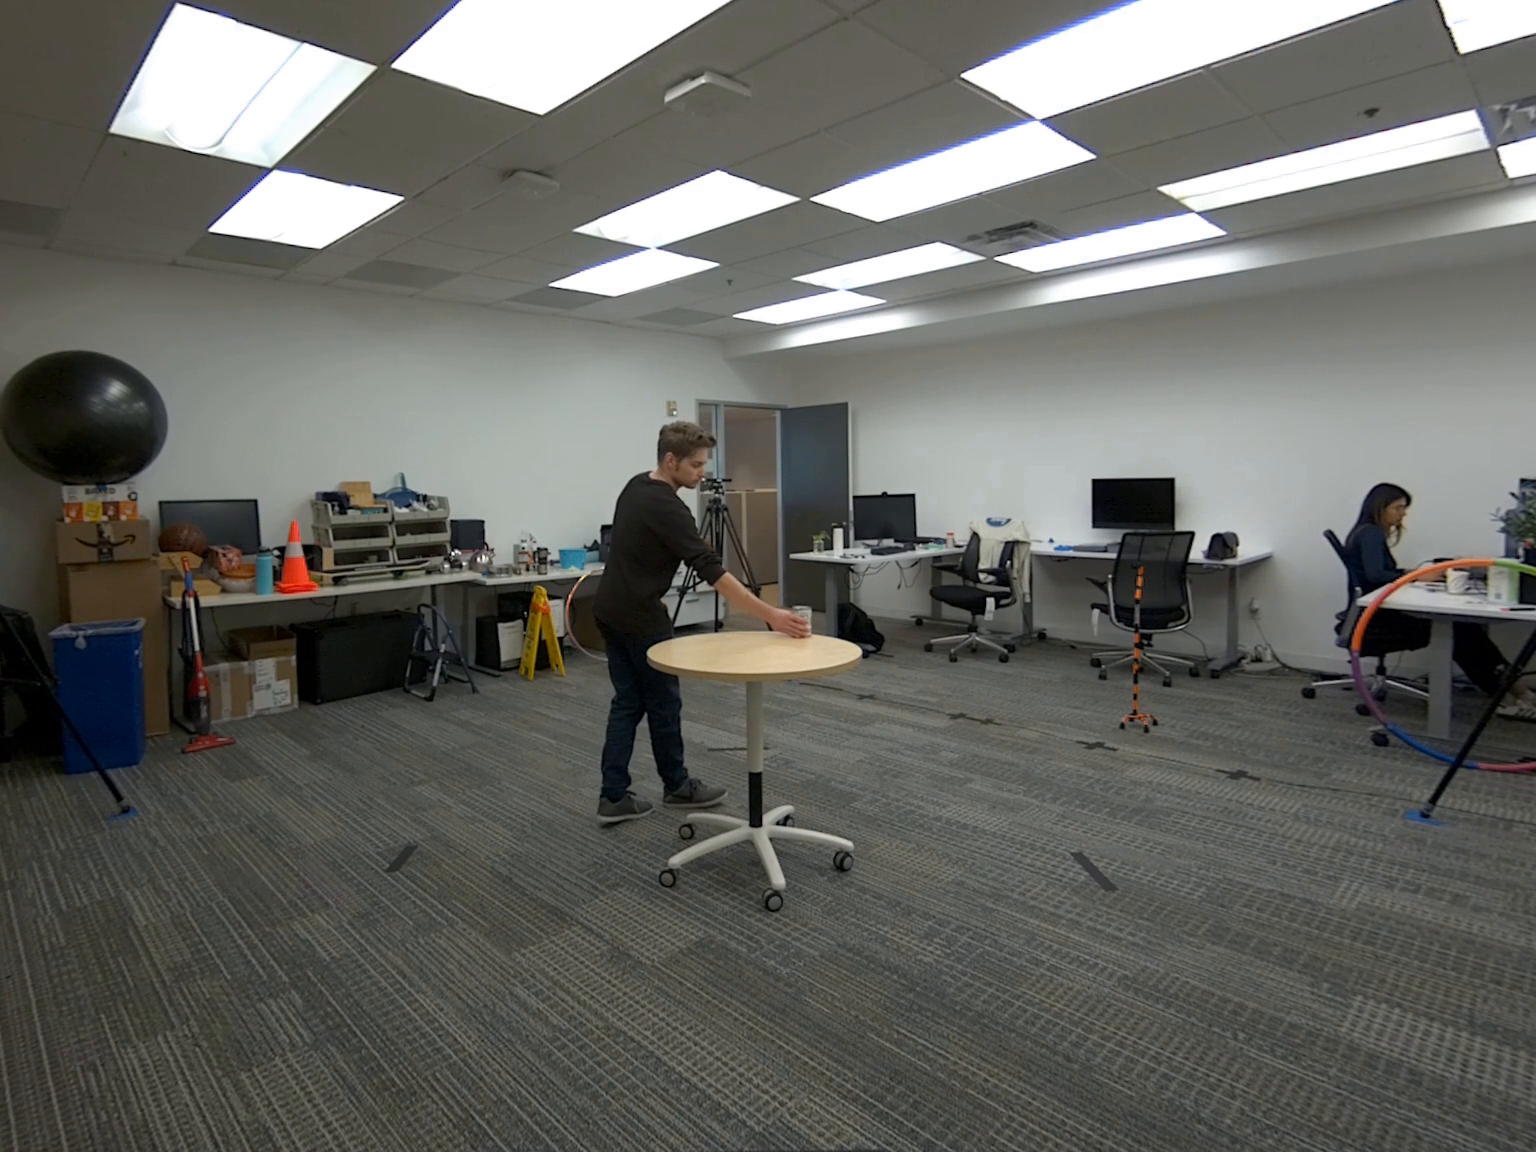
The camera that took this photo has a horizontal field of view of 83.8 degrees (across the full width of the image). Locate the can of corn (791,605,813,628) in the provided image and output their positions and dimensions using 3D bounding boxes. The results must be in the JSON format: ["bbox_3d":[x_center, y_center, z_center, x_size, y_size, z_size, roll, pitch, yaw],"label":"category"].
[{"bbox_3d":[0.130,0.179,3.309,0.074,0.111,0.074,-1,3,-2],"label":"can of corn"}]
